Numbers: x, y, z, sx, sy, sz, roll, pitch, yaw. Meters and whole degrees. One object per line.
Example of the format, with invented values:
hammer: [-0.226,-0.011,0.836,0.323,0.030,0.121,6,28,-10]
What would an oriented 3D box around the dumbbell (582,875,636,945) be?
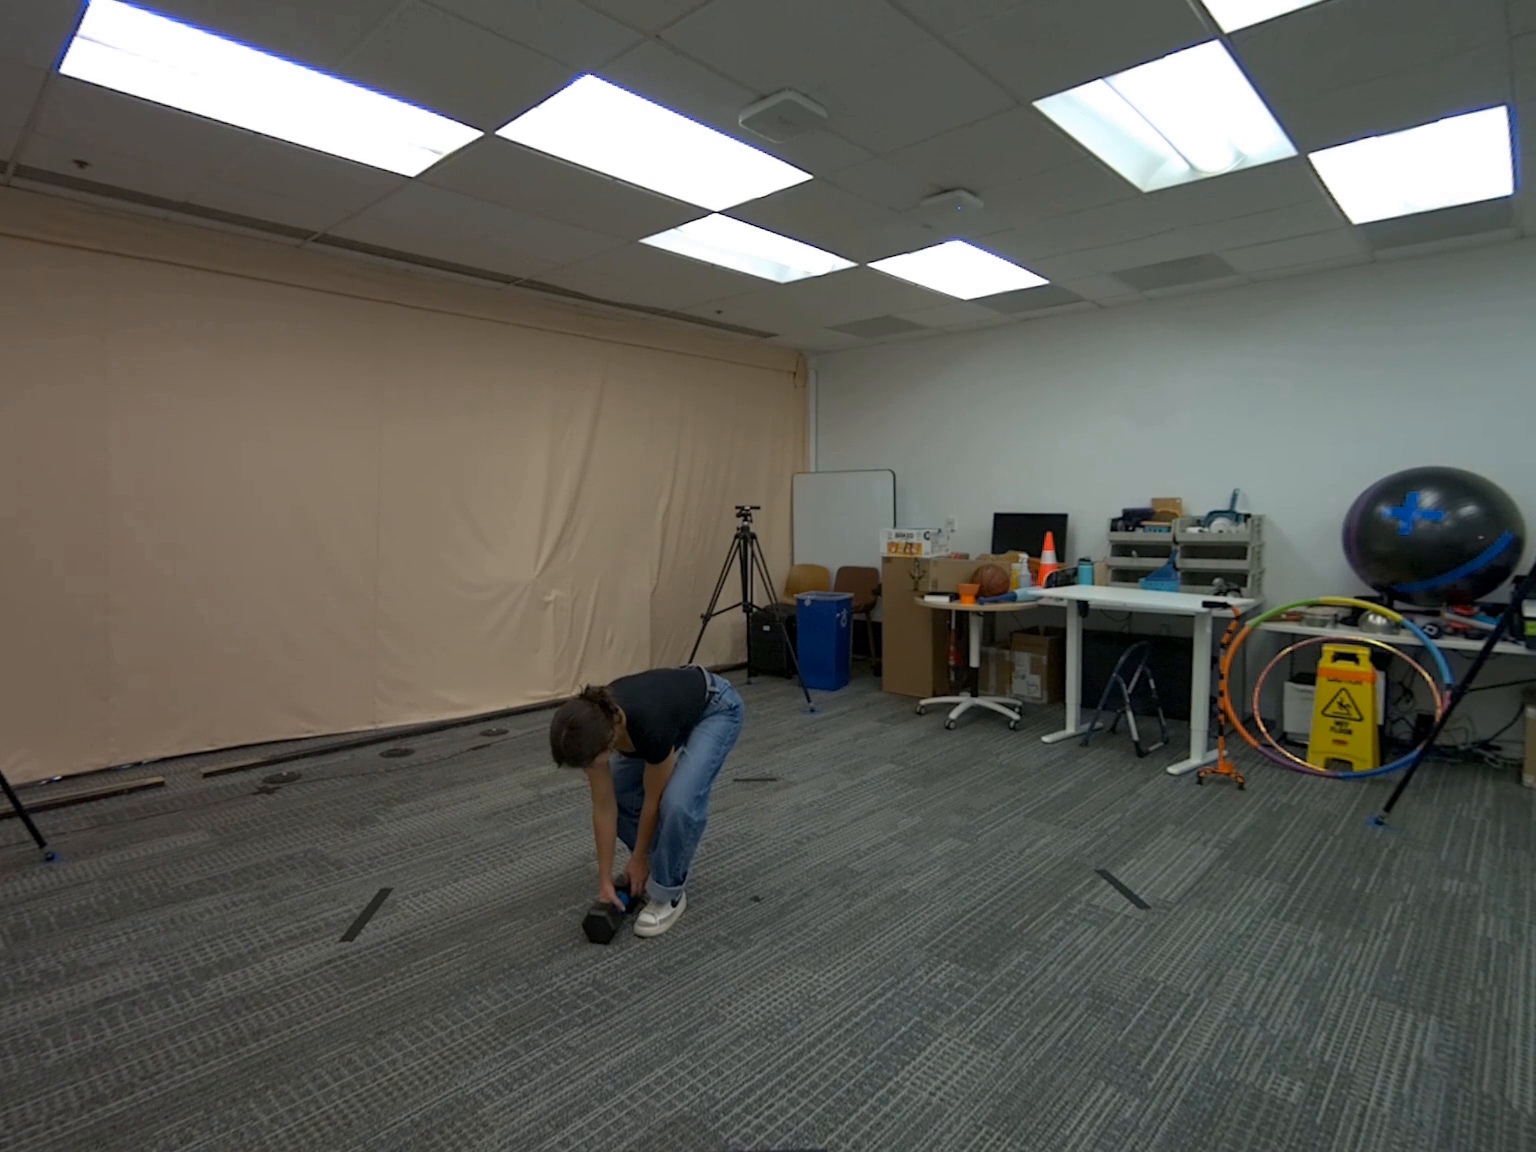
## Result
dumbbell: [-0.514,1.100,2.814,0.109,0.123,0.290,-32,-2,10]
